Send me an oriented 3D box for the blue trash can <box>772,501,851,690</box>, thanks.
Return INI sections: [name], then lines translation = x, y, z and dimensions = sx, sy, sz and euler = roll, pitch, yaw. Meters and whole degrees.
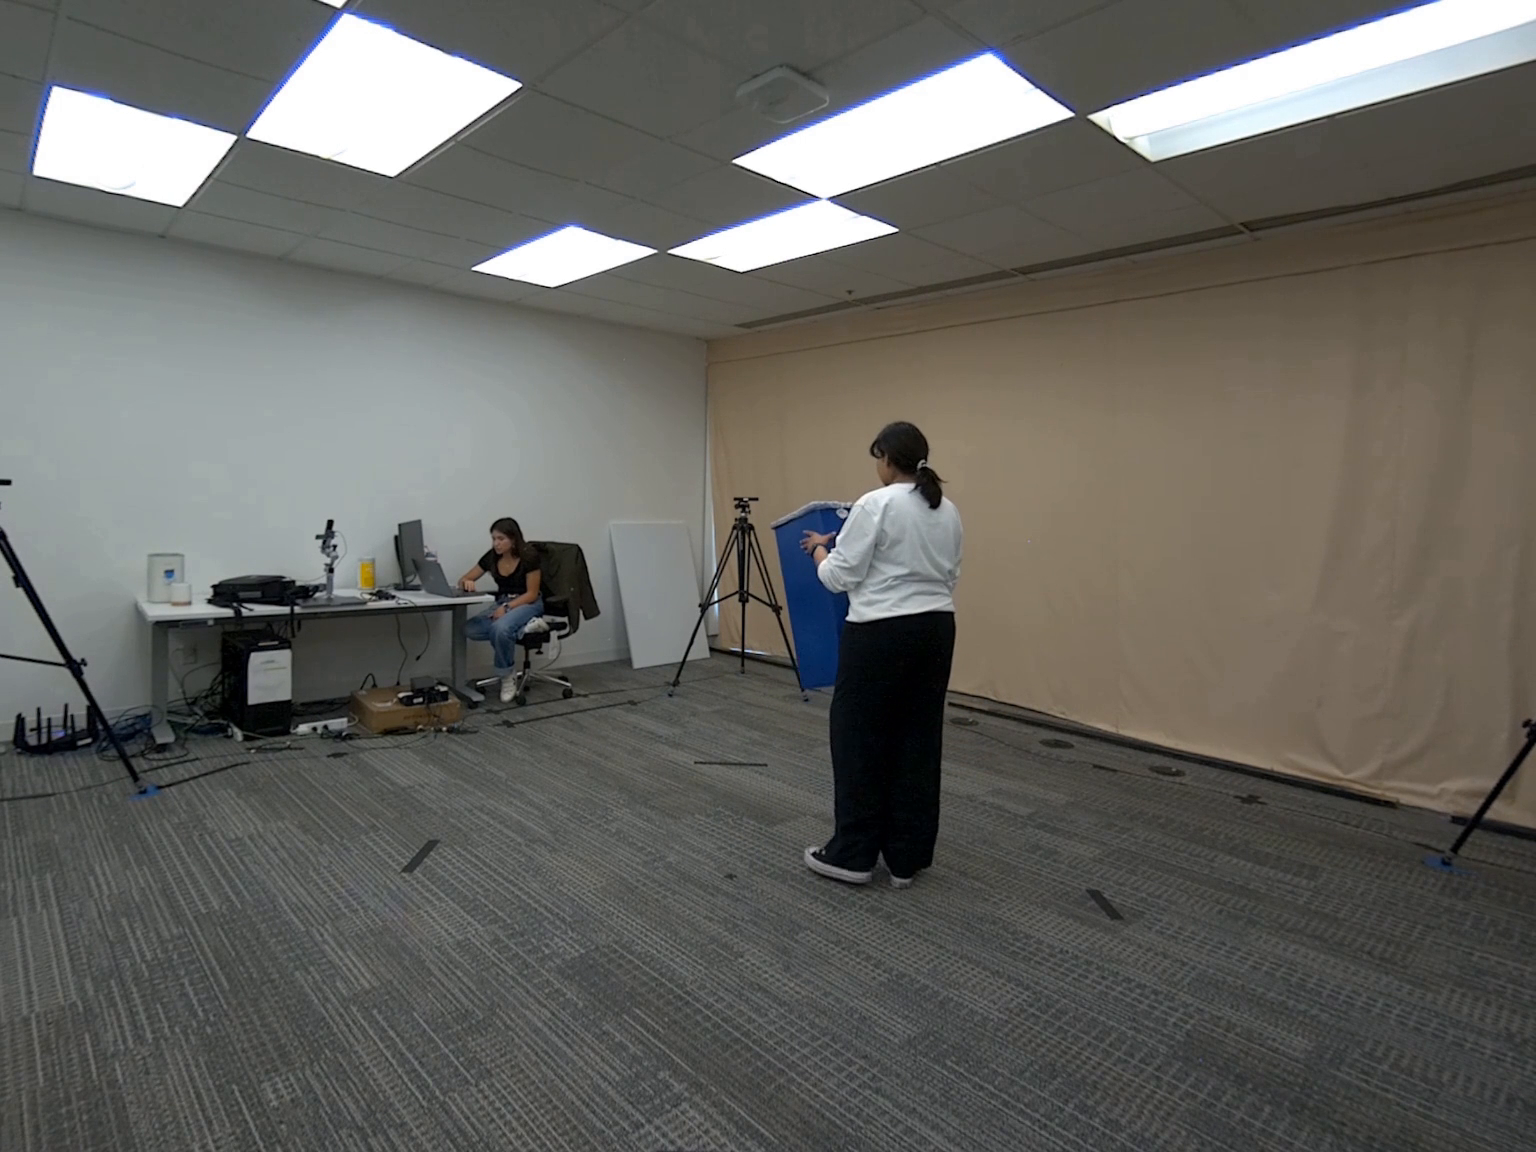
[blue trash can]
translation = 0.277, 0.087, 3.497
dimensions = 0.370, 0.720, 0.378
euler = -1, -12, -32
